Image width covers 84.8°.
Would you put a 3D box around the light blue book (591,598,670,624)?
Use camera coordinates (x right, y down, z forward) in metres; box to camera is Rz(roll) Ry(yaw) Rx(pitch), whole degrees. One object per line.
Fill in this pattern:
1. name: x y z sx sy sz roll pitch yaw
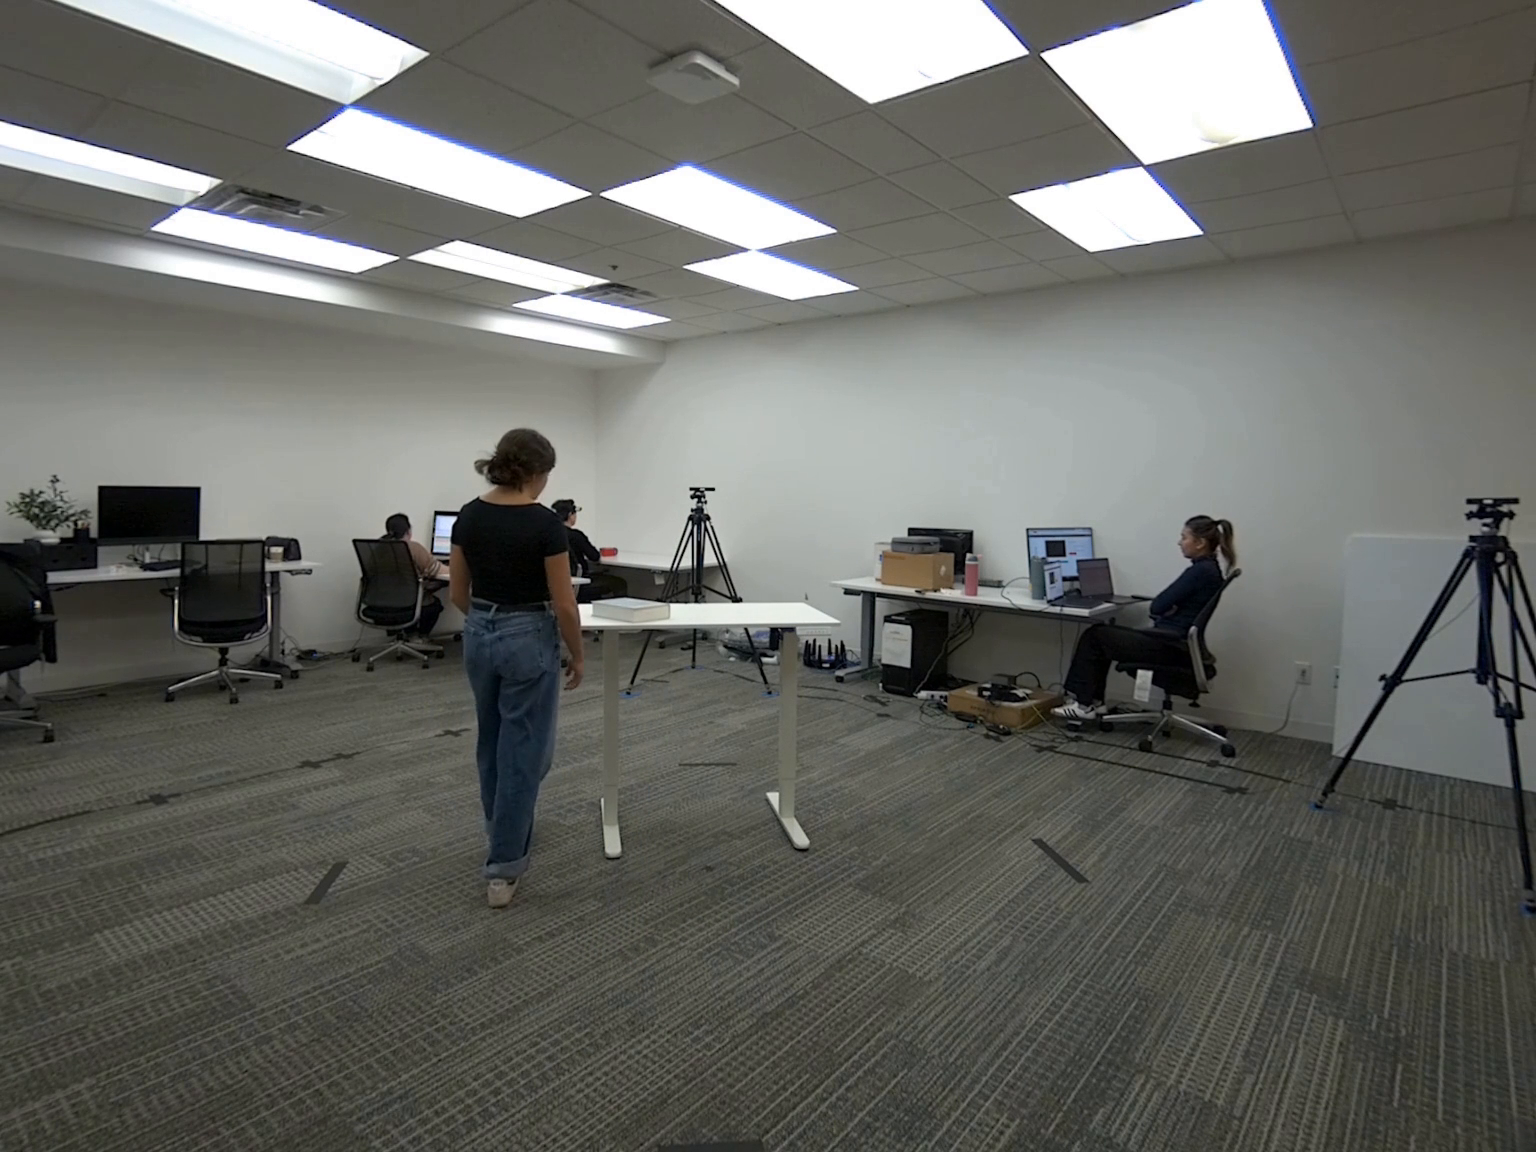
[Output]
1. light blue book: -0.555 0.129 3.330 0.270 0.059 0.186 6 8 42
